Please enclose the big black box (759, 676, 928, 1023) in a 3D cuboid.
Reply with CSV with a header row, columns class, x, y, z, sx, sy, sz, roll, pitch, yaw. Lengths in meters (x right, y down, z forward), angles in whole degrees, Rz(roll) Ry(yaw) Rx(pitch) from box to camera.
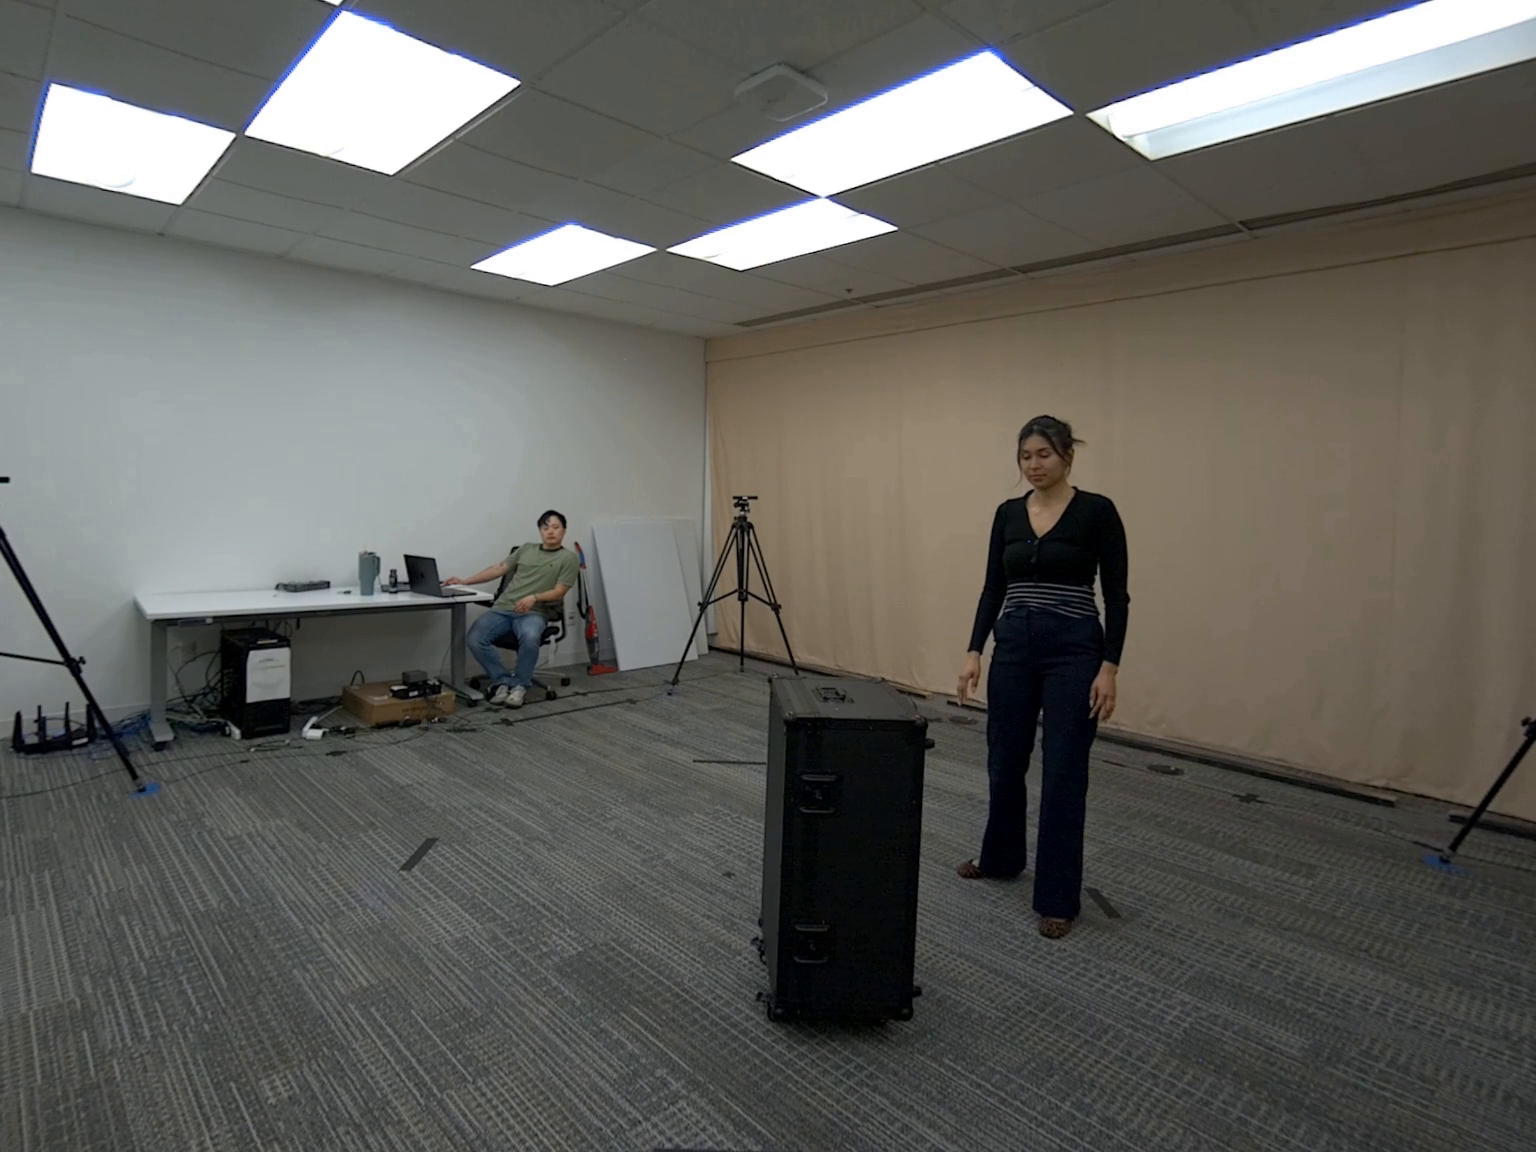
class,x,y,z,sx,sy,sz,roll,pitch,yaw
big black box,0.193,0.753,2.358,0.395,0.859,0.524,3,4,-4
